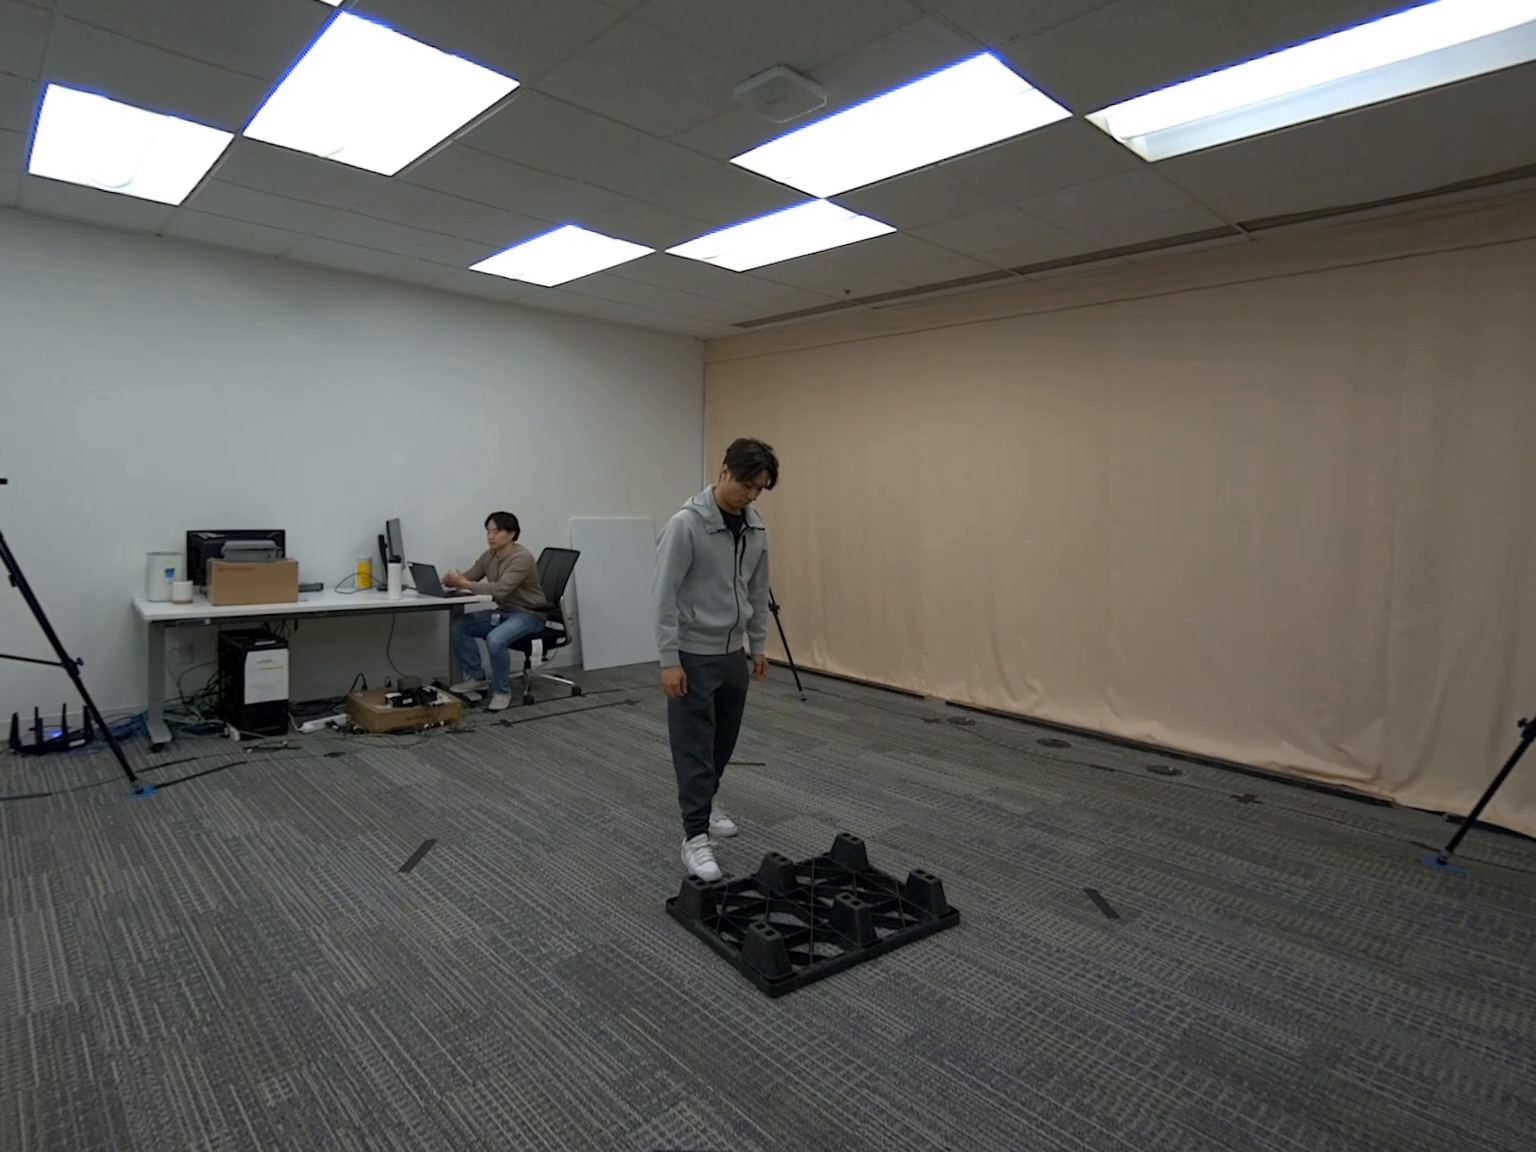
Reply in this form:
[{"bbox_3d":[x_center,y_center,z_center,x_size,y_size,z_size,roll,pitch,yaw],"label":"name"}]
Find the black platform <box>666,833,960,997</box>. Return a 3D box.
[{"bbox_3d":[0.143,1.076,2.800,0.788,0.143,0.620,-3,7,-37],"label":"black platform"}]
